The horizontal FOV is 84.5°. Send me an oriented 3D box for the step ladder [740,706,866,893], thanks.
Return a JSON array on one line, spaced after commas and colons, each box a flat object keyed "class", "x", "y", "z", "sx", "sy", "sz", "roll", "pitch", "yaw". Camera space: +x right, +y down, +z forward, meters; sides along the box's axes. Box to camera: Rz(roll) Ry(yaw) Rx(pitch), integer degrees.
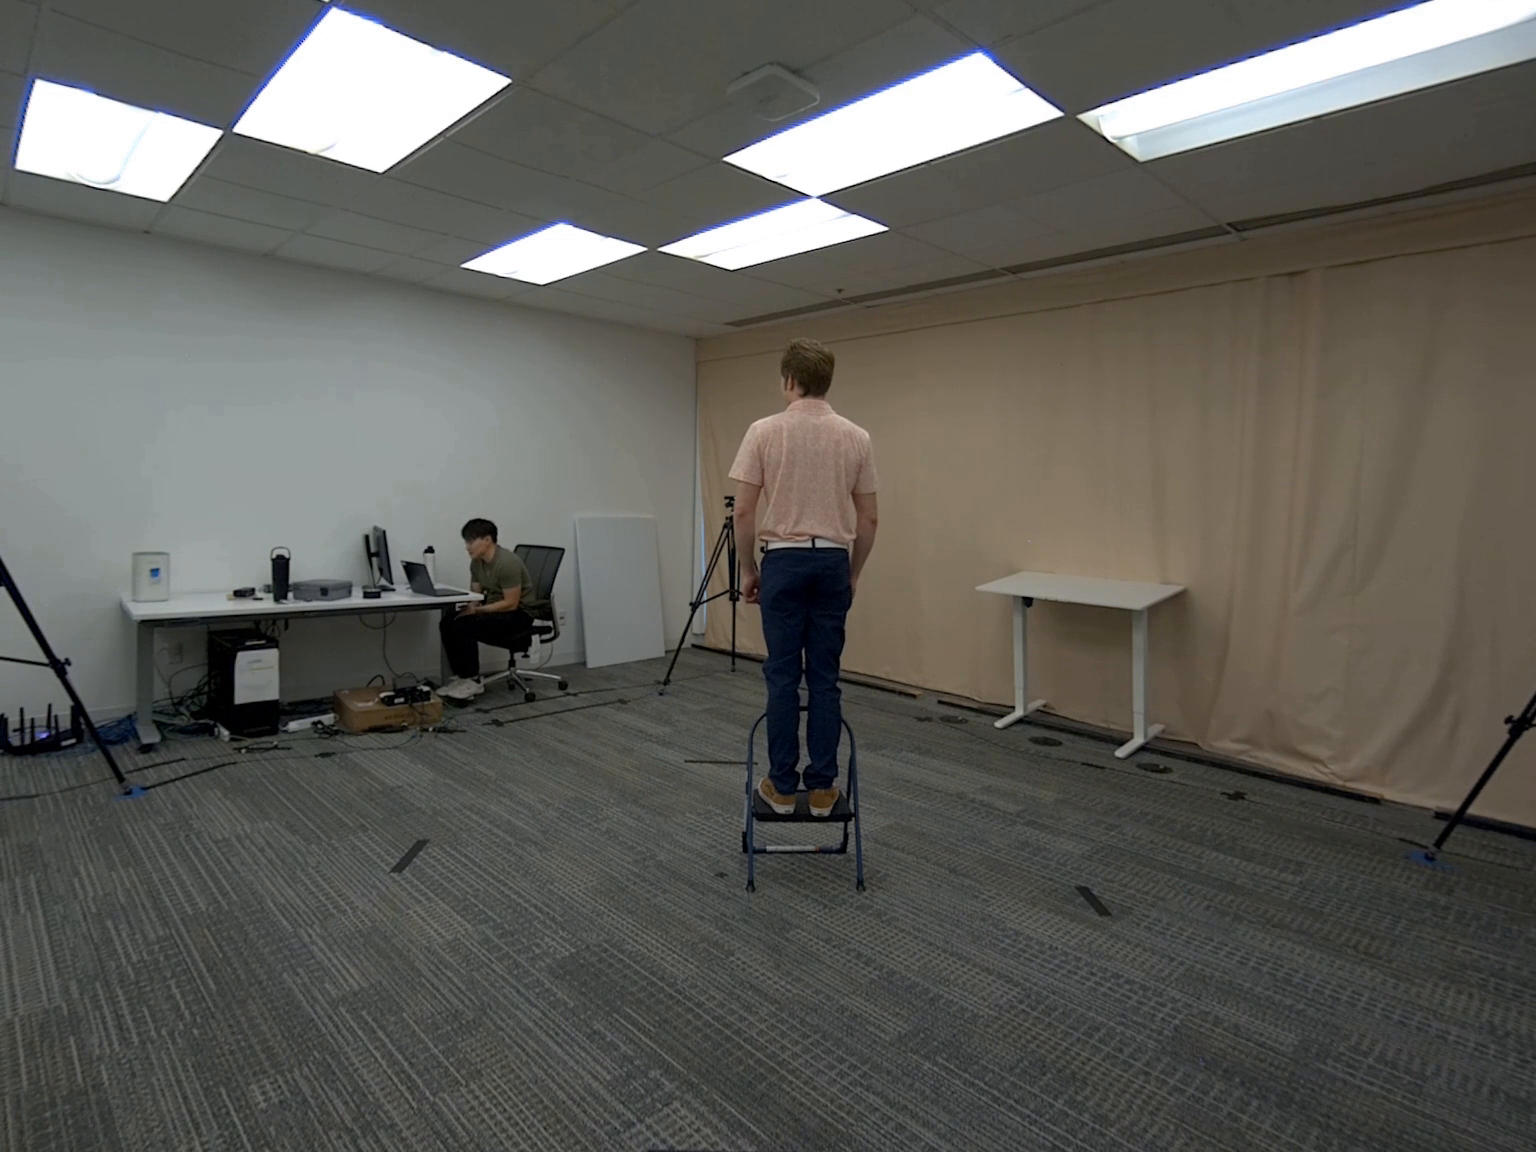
[{"class": "step ladder", "x": 0.122, "y": 0.807, "z": 3.149, "sx": 0.429, "sy": 0.604, "sz": 0.351, "roll": 1, "pitch": 4, "yaw": -5}]
